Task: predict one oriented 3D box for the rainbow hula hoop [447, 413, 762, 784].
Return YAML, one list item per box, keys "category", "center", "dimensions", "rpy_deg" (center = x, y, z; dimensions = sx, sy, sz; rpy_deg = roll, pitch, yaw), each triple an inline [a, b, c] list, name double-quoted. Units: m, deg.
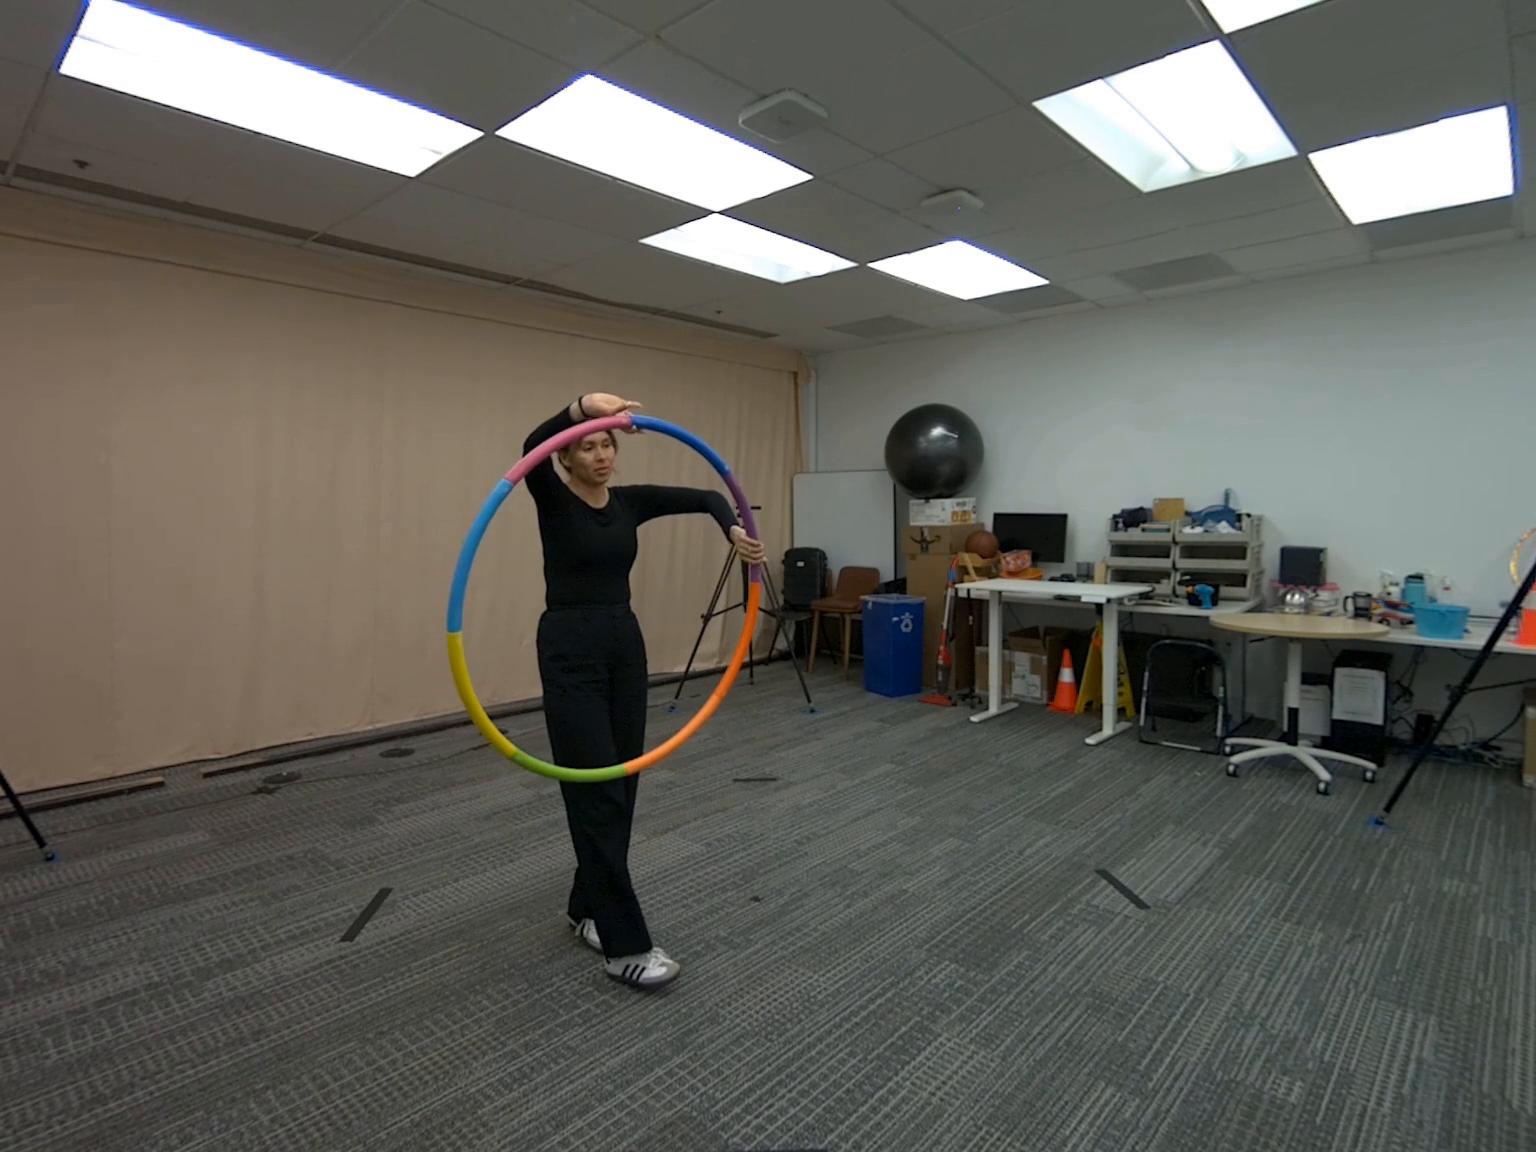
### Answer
- category: "rainbow hula hoop"
  center: [-0.374, 0.069, 2.251]
  dimensions: [0.955, 0.980, 0.053]
  rpy_deg: [-3, 12, -40]
